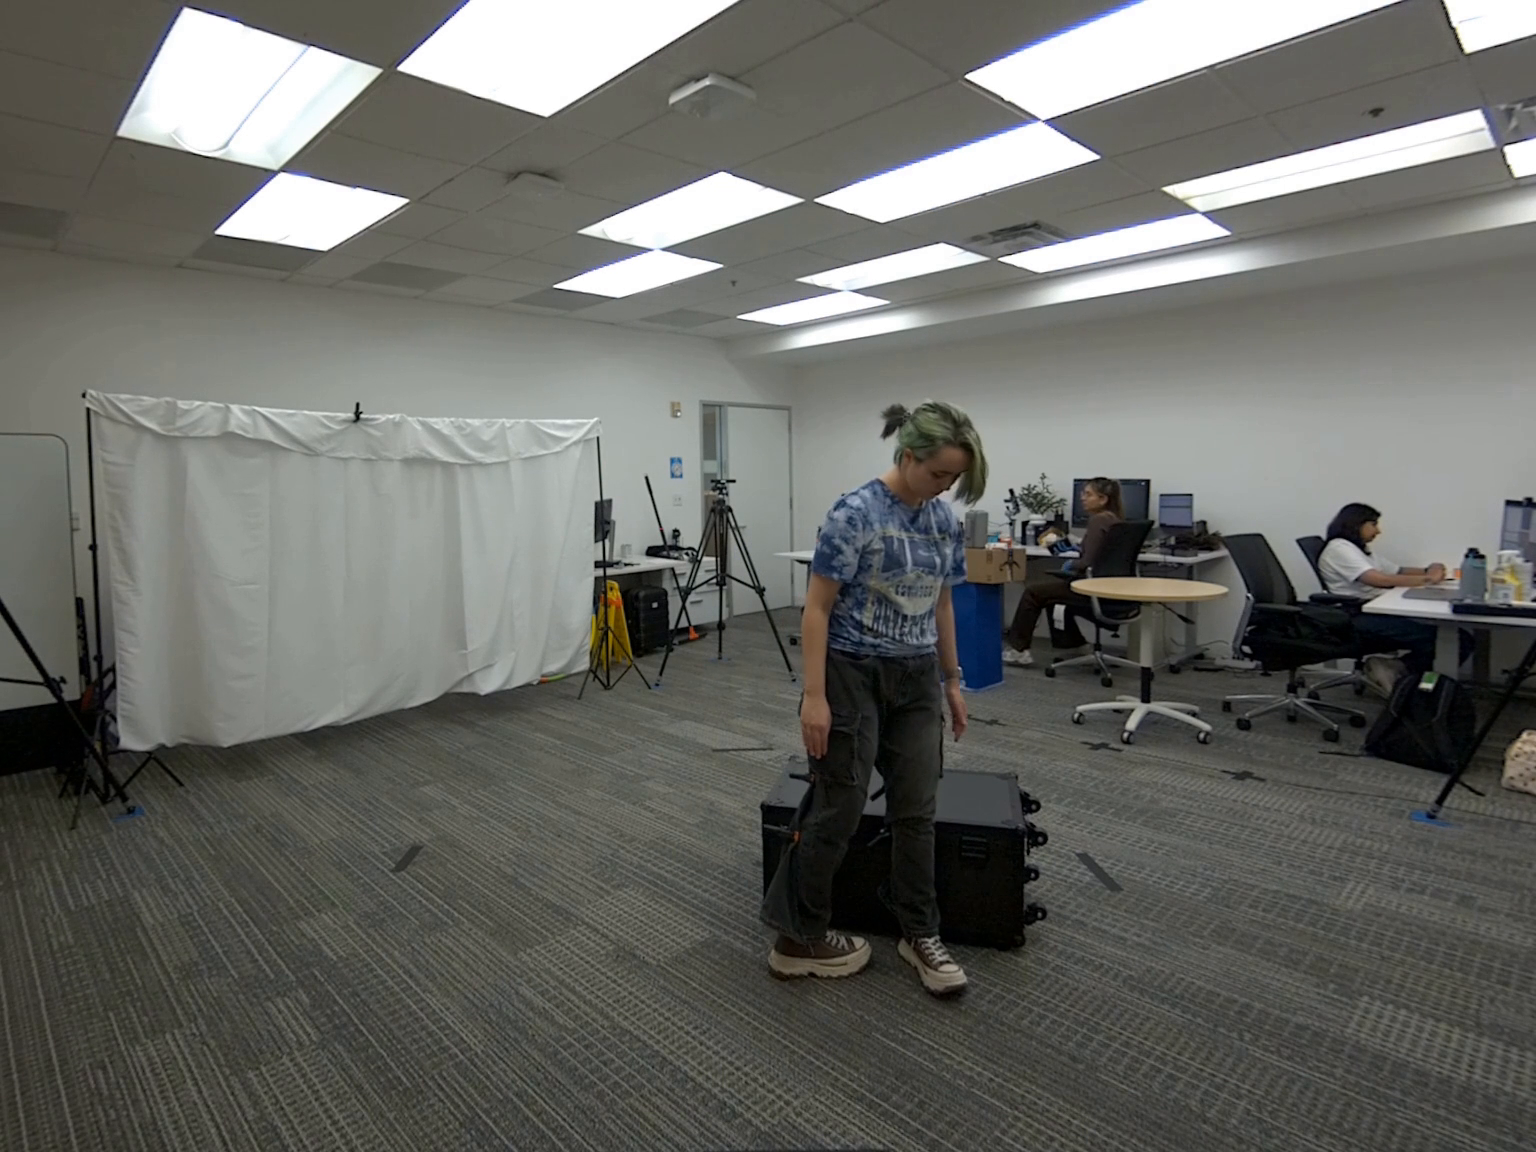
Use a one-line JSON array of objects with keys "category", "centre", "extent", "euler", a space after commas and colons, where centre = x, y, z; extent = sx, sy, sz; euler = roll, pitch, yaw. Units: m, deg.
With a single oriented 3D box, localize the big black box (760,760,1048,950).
[{"category": "big black box", "centre": [0.446, 0.878, 2.796], "extent": [0.874, 0.395, 0.516], "euler": [0, 5, 15]}]
